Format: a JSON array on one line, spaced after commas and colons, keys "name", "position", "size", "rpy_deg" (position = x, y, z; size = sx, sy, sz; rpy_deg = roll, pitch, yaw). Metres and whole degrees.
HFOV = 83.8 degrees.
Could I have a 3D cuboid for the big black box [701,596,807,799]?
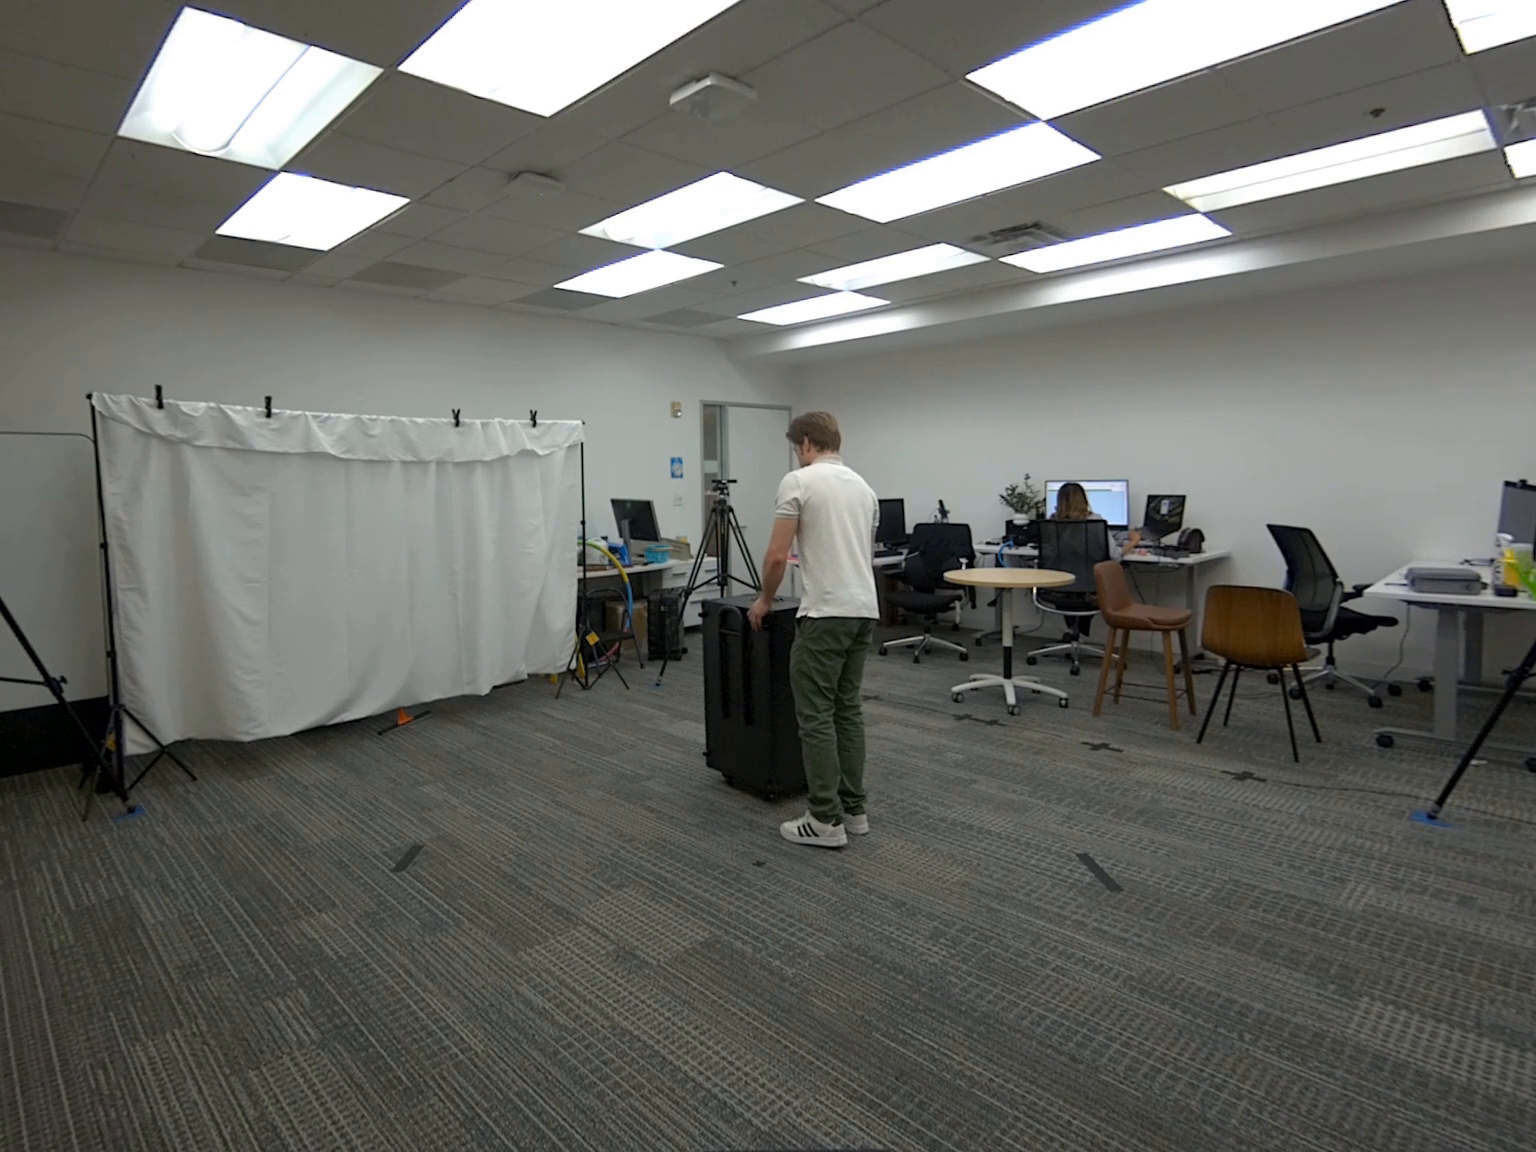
[{"name": "big black box", "position": [-0.008, 0.543, 3.874], "size": [0.375, 0.866, 0.539], "rpy_deg": [-5, 5, -39]}]
